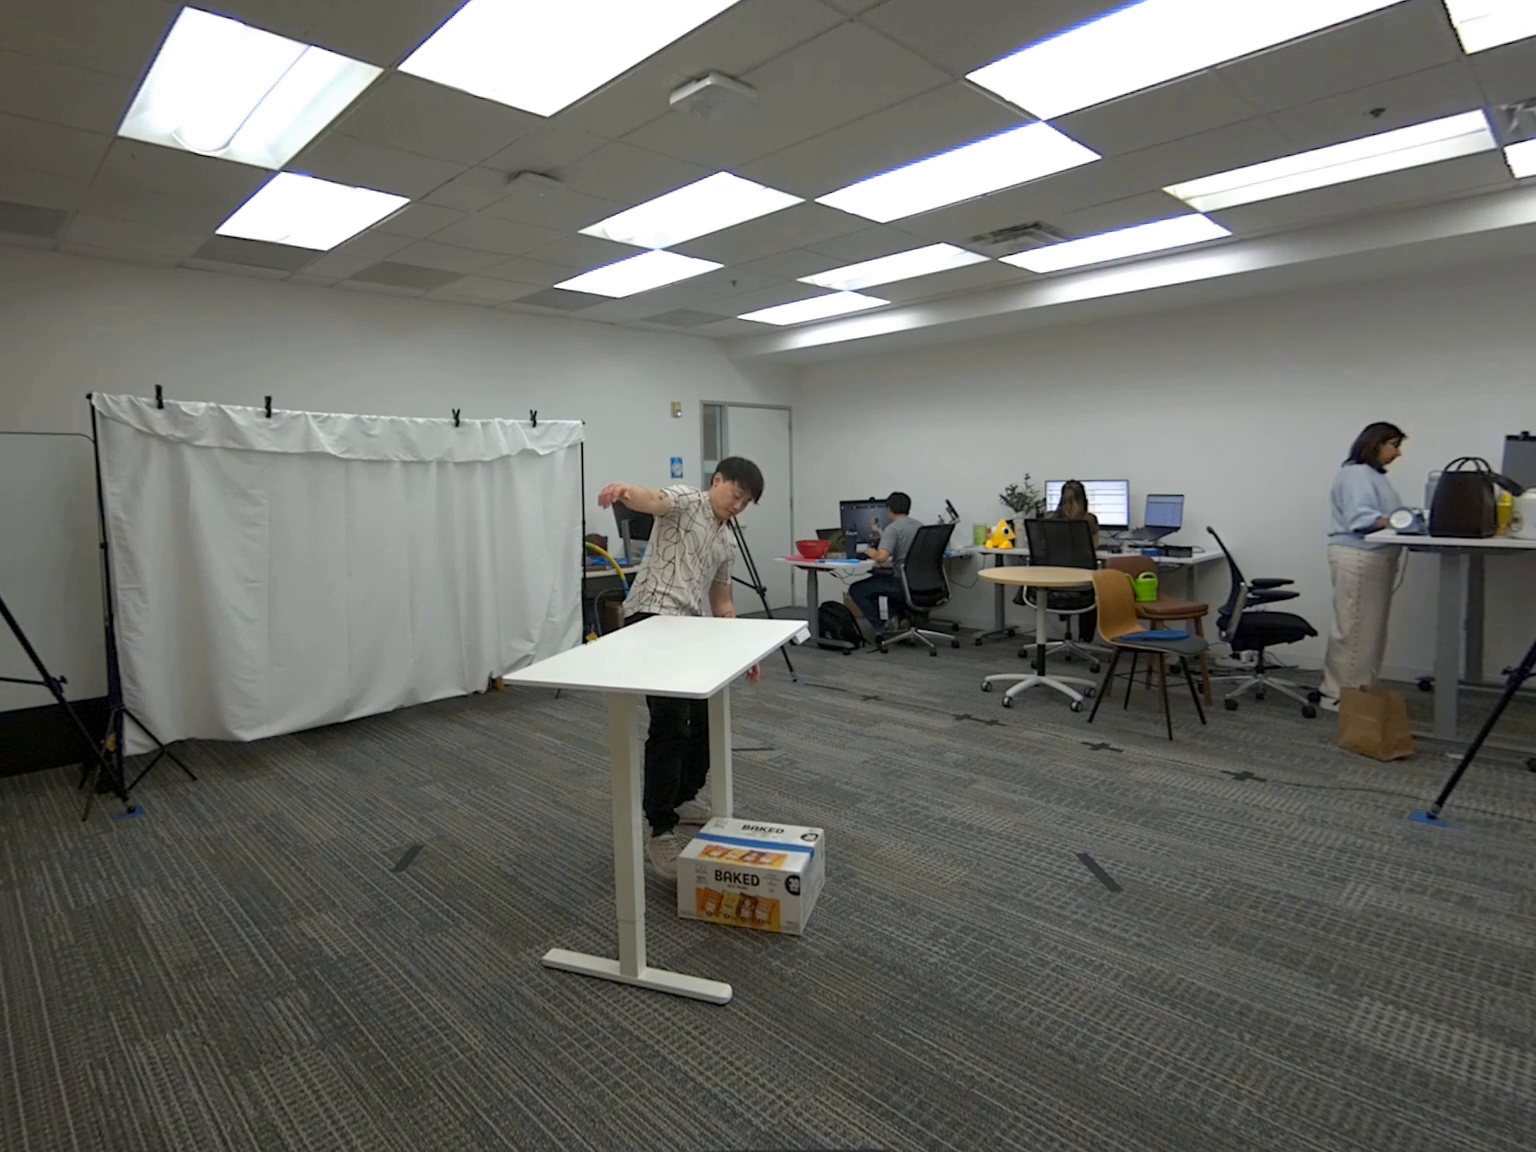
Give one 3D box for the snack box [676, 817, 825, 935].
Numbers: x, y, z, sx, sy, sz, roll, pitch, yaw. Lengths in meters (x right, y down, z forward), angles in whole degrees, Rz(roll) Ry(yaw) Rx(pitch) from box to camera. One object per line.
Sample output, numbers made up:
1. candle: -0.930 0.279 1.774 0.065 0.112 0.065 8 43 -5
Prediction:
1. snack box: -0.044 0.978 2.818 0.412 0.205 0.336 1 6 18
